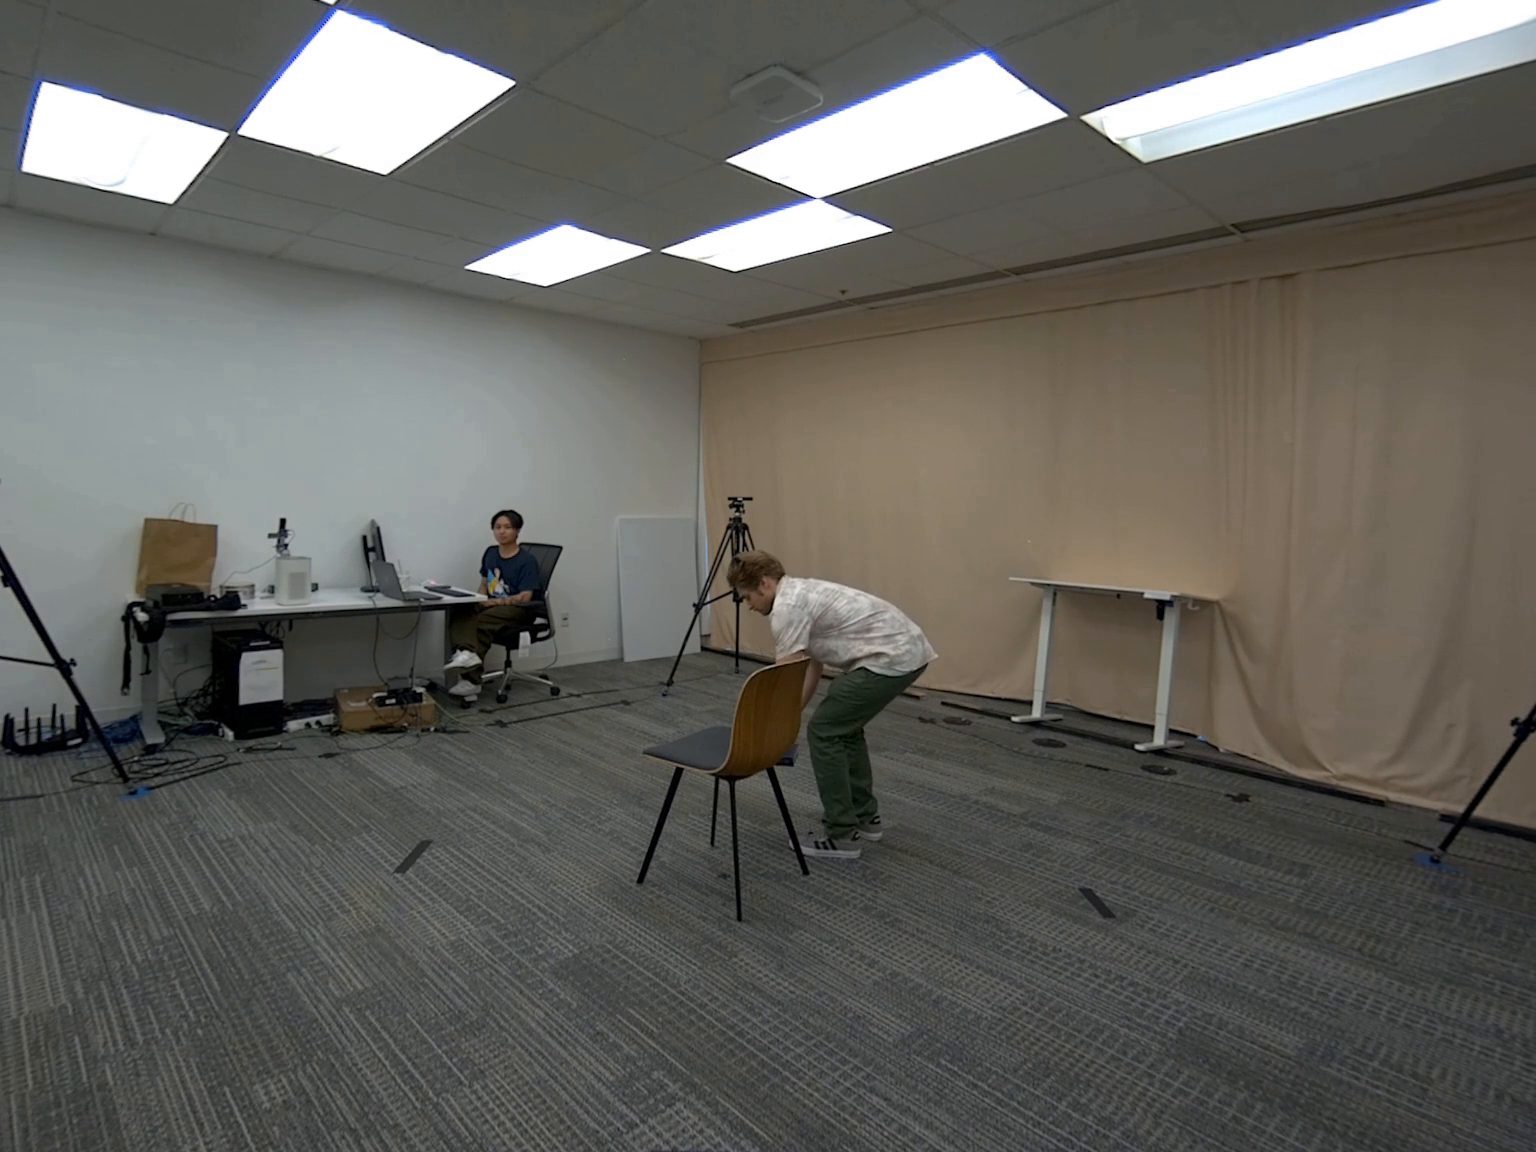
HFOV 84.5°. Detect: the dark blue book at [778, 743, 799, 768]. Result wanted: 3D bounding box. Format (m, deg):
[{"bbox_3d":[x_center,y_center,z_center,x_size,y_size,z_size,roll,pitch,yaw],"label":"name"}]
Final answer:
[{"bbox_3d":[-0.002,0.750,3.517,0.248,0.045,0.162,-1,5,13],"label":"dark blue book"}]
